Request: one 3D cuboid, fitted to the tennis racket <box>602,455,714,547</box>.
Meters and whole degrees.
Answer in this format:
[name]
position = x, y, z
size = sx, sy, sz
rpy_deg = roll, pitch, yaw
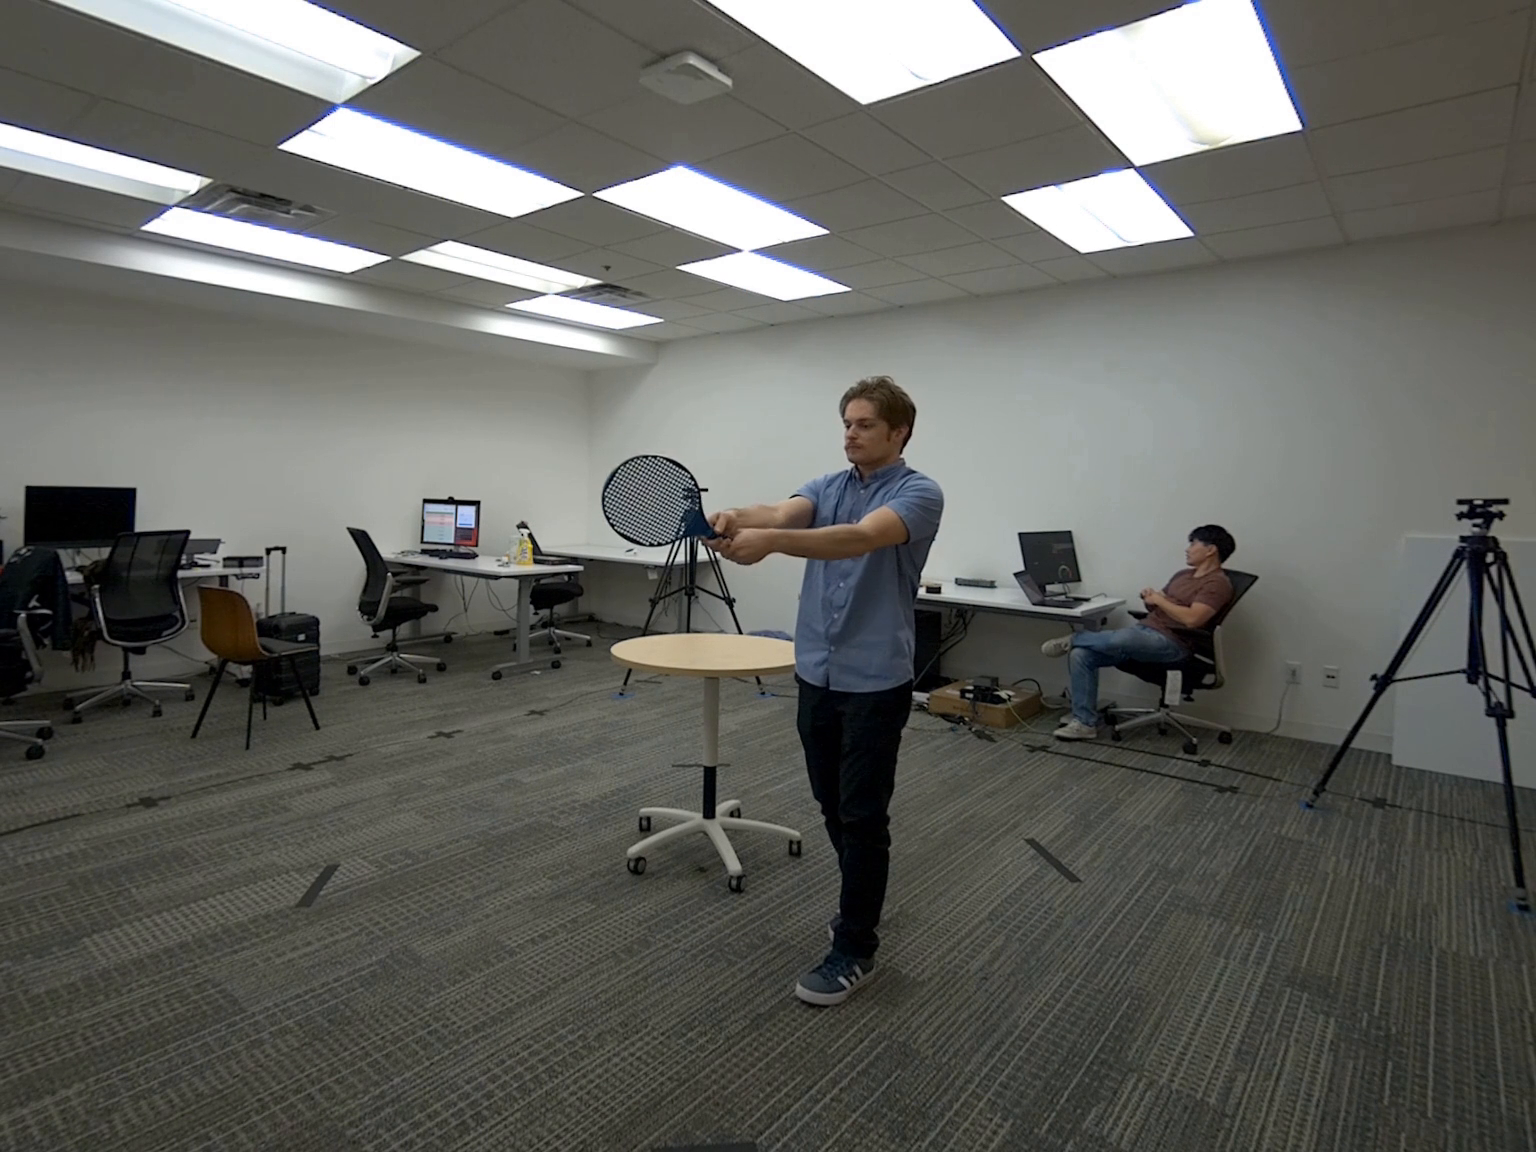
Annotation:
[tennis racket]
position = -0.216, -0.133, 1.981
size = 0.416, 0.214, 0.033
rpy_deg = 35, 1, -35
